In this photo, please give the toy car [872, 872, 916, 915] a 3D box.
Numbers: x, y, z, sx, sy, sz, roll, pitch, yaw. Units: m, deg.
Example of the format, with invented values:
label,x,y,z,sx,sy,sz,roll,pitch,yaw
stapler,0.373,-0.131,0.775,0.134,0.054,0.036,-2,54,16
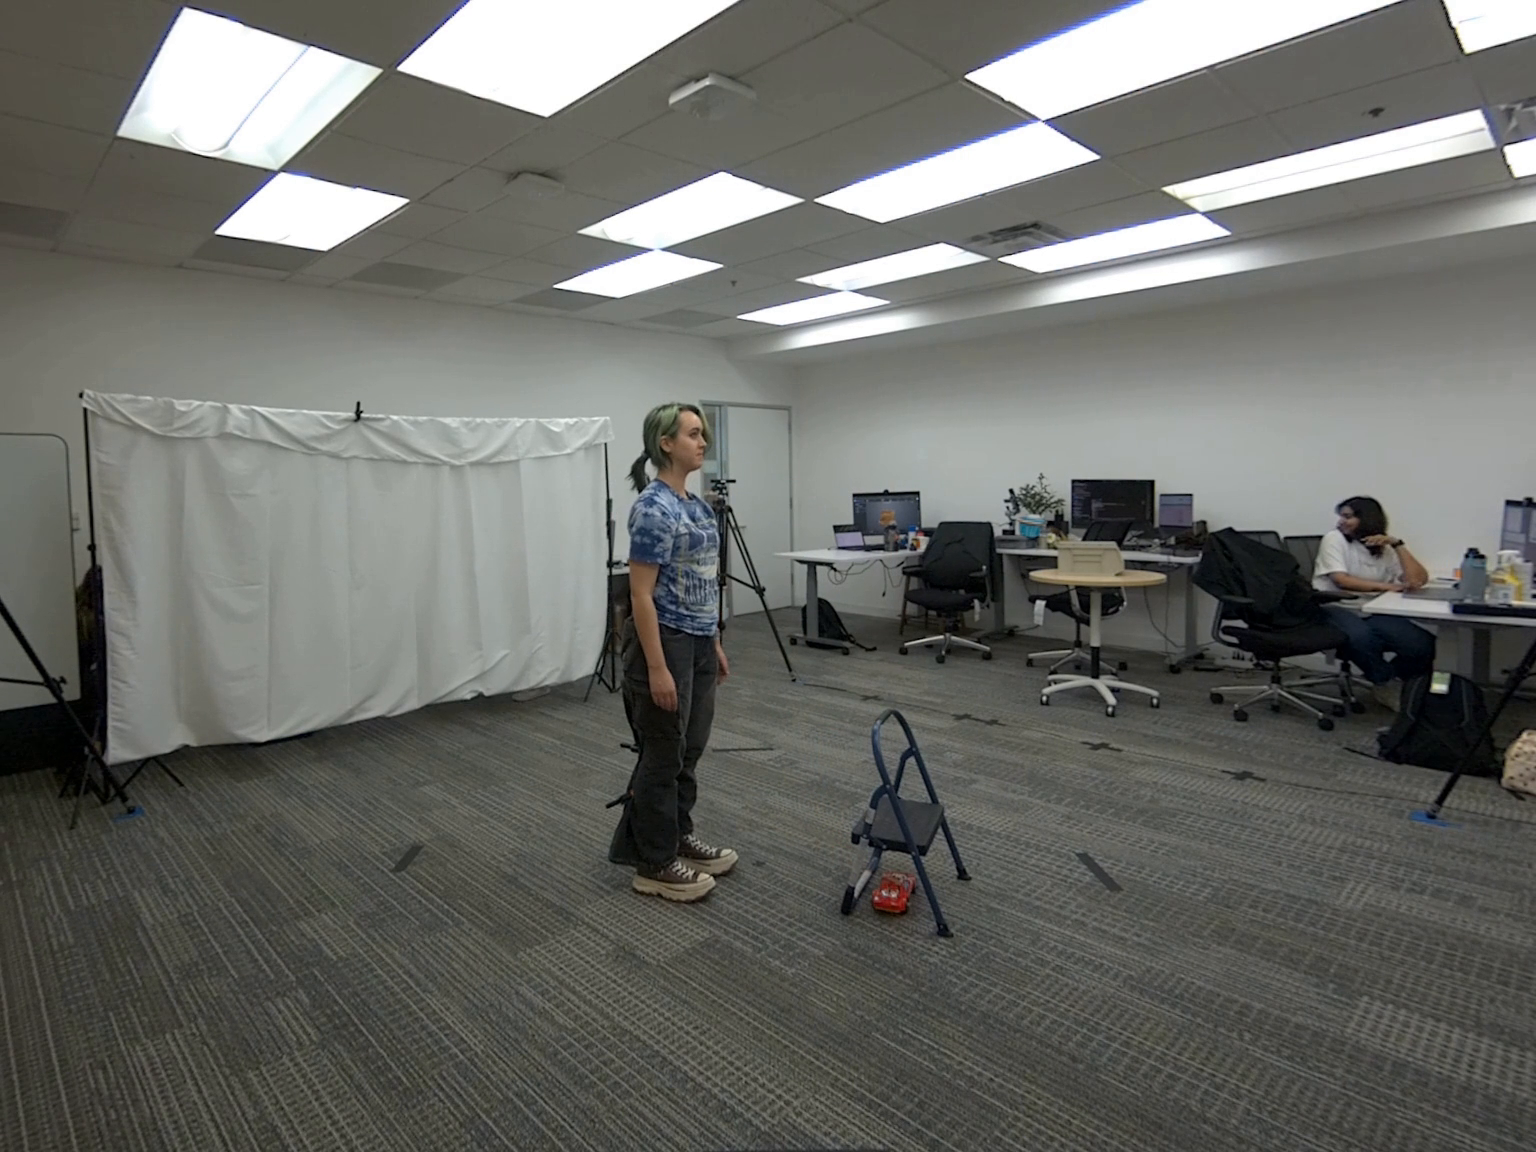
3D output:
label,x,y,z,sx,sy,sz,roll,pitch,yaw
toy car,0.411,1.039,2.806,0.133,0.083,0.248,4,-4,22
